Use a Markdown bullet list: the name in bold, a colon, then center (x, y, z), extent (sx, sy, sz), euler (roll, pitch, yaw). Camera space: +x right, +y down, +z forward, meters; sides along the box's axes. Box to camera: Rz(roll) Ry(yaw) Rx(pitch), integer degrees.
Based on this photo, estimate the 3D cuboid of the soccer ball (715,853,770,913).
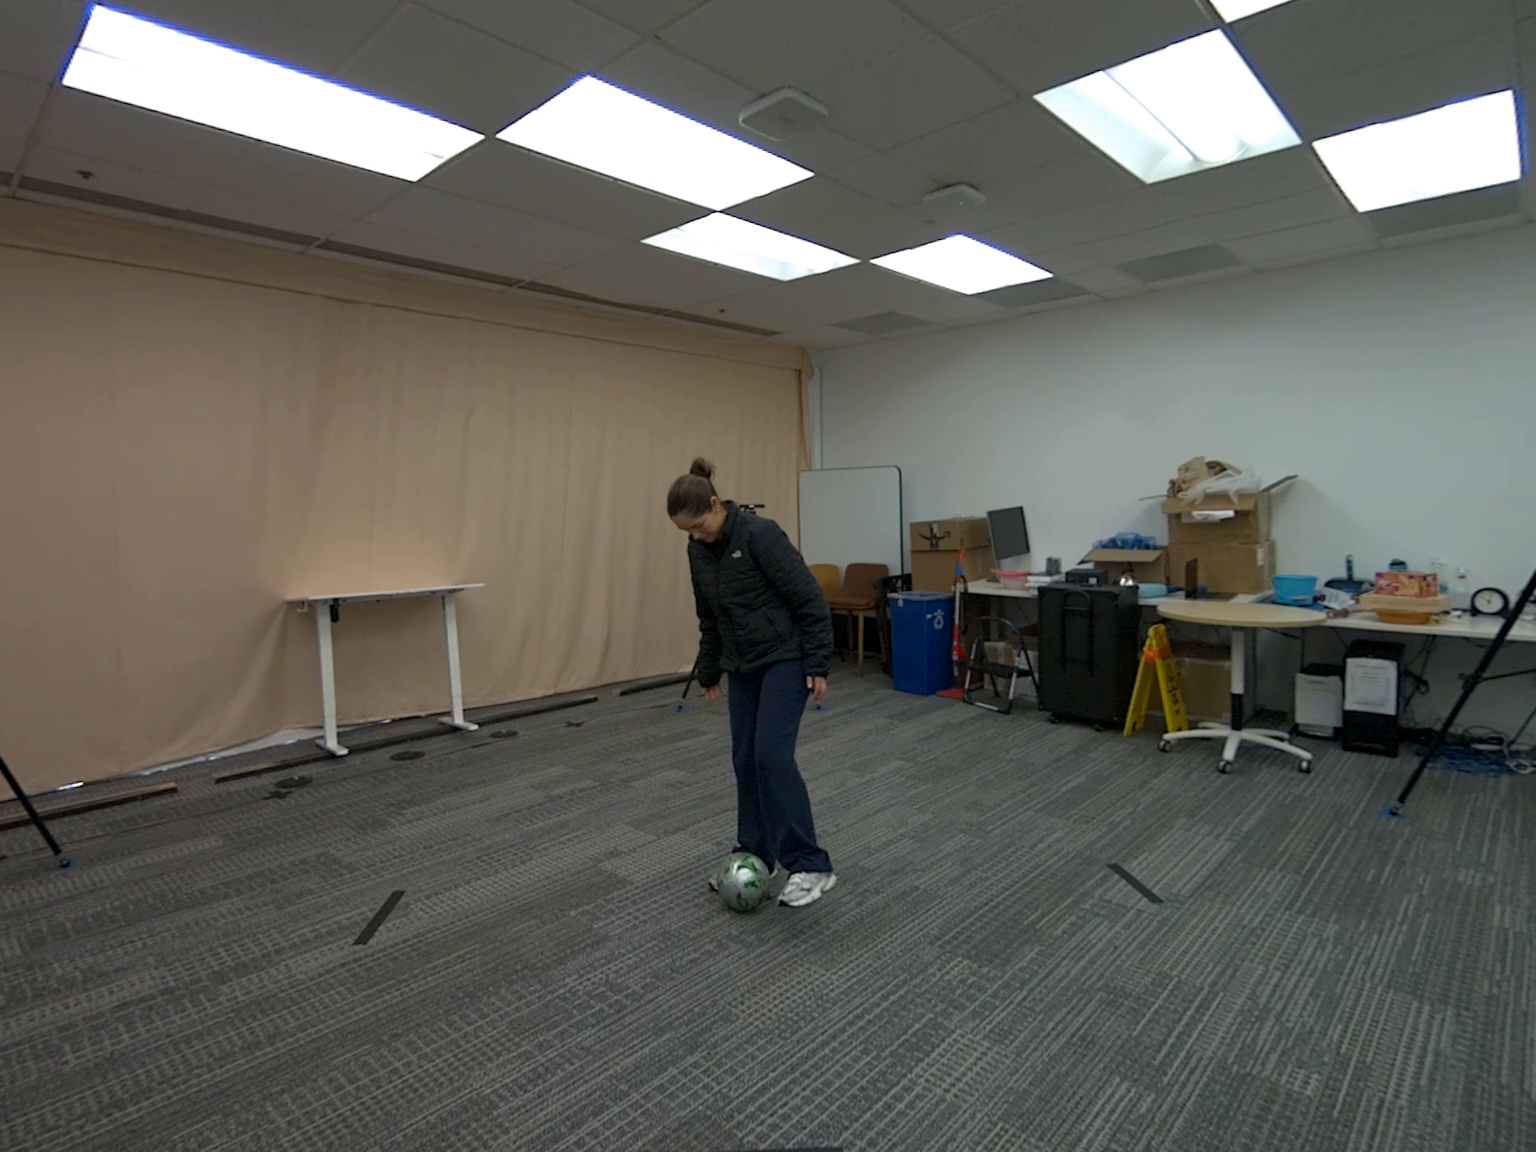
- **soccer ball**: center (-0.088, 1.050, 2.905), extent (0.187, 0.187, 0.188), euler (-1, 4, -2)
